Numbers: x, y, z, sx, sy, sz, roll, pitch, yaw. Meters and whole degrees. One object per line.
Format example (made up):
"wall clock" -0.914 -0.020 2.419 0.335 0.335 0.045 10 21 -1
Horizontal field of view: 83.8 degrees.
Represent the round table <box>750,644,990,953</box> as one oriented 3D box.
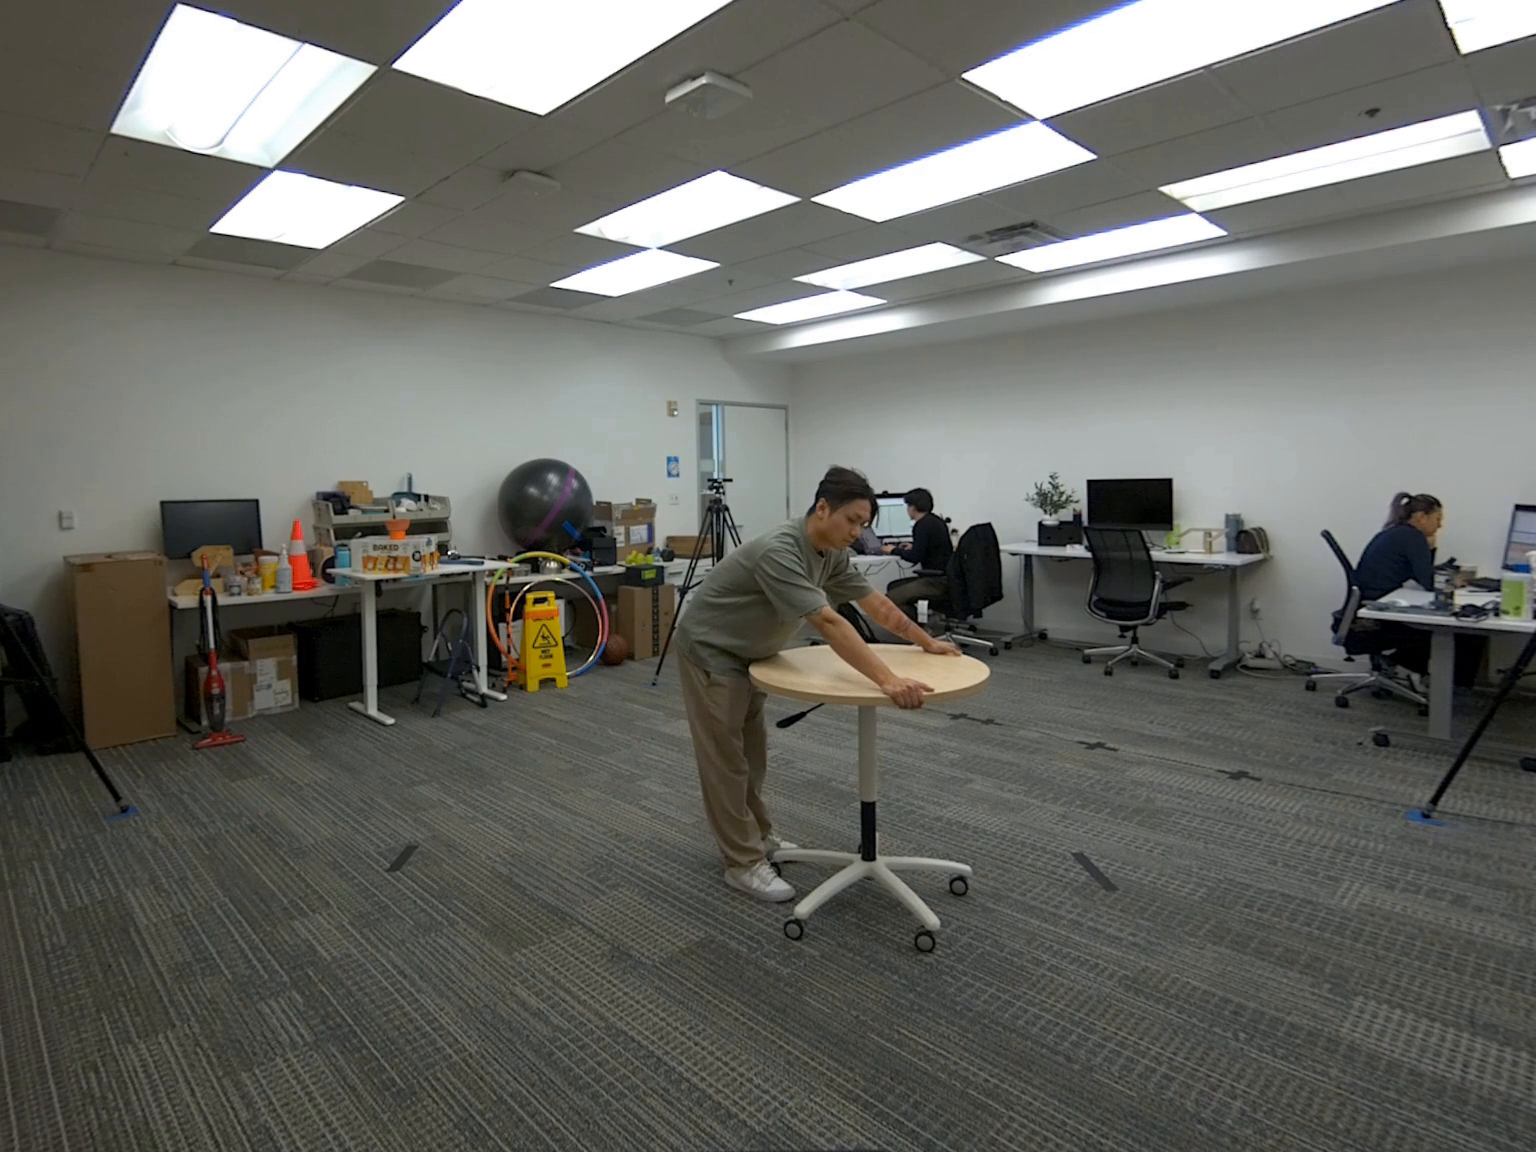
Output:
"round table" 0.336 0.680 2.809 0.784 0.783 0.789 -1 5 -2
